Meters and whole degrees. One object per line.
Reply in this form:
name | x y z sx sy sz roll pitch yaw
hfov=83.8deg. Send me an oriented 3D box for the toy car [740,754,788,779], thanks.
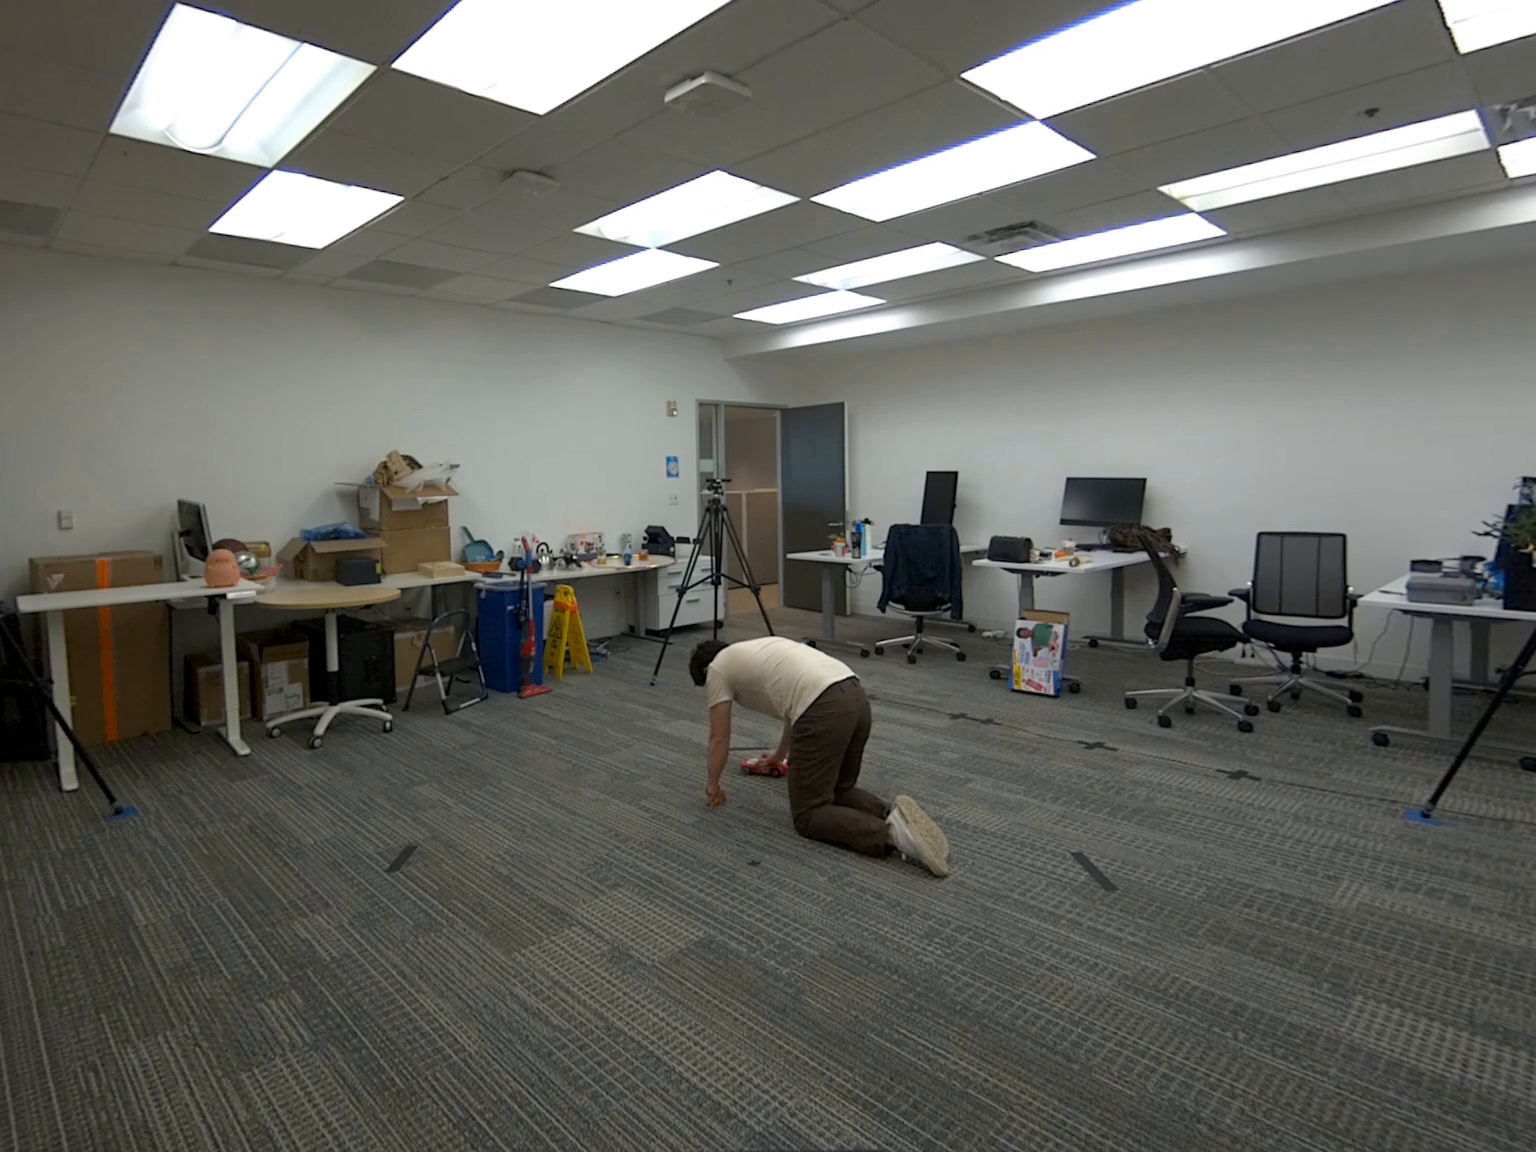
toy car | -0.003 0.905 4.064 0.258 0.083 0.129 -8 4 18
